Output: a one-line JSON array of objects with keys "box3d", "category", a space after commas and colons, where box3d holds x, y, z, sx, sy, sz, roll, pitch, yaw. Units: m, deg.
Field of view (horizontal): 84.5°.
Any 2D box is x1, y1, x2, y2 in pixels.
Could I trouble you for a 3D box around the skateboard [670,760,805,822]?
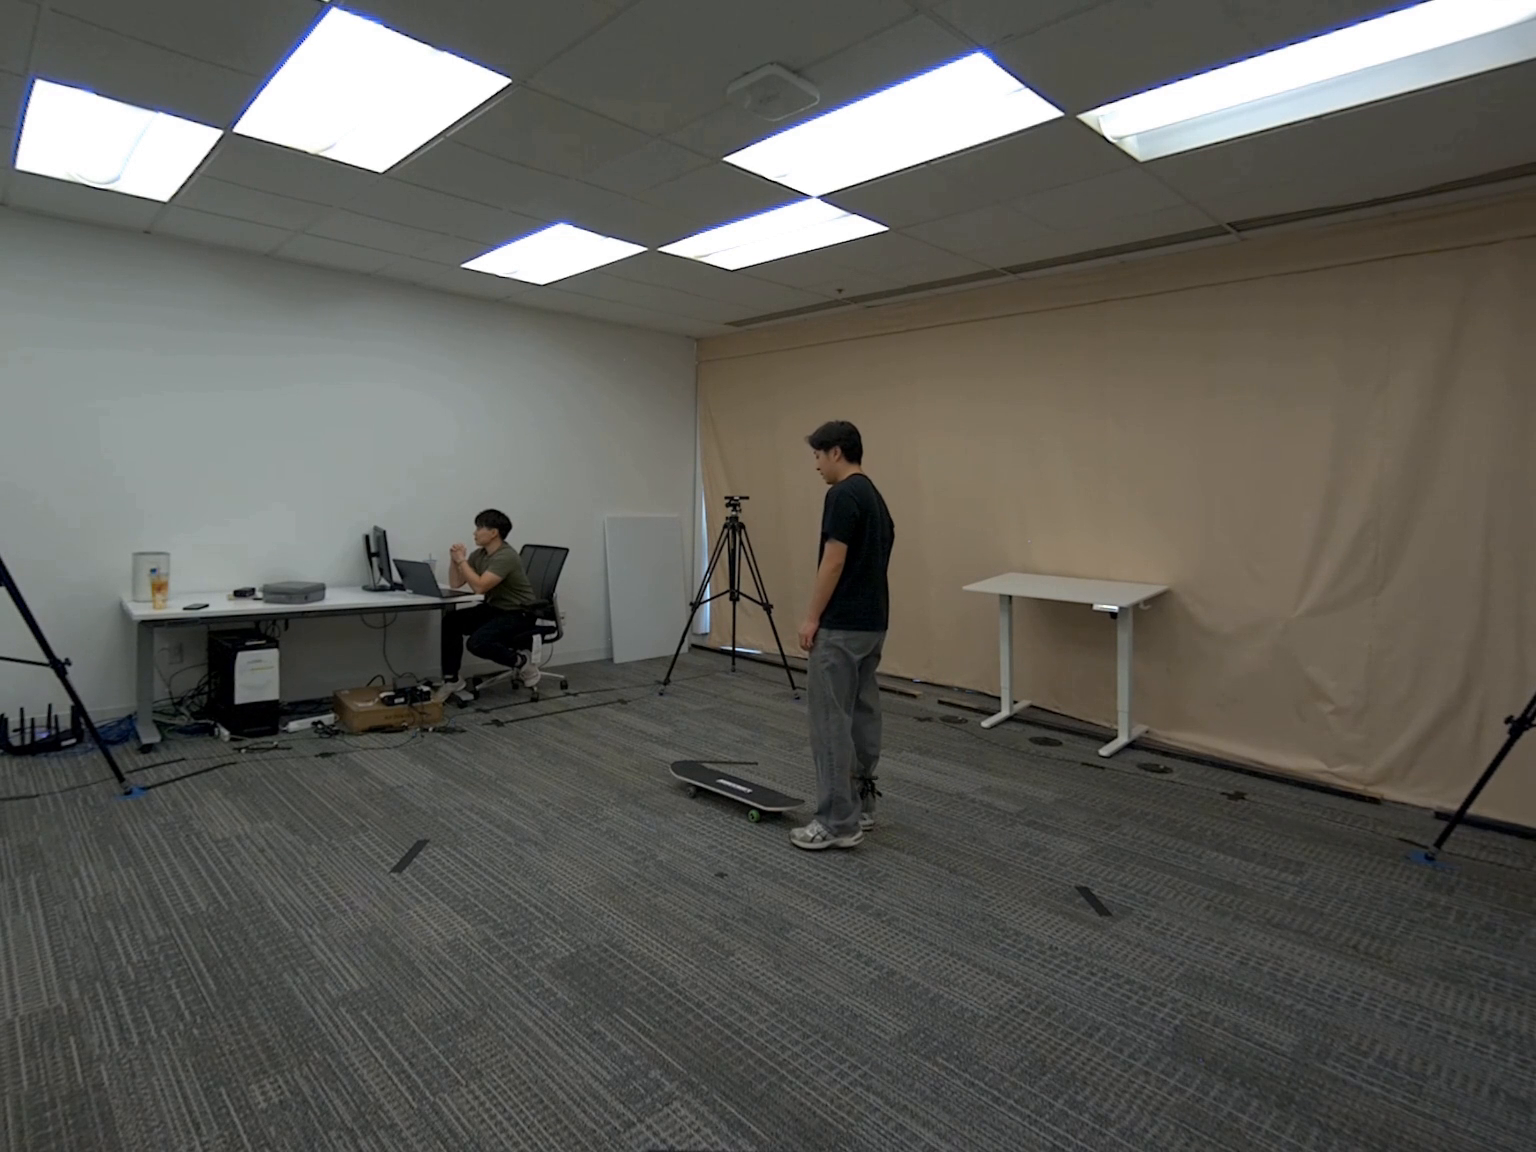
[{"box3d": [-0.167, 0.987, 3.824, 0.806, 0.110, 0.189, 6, 6, 44], "category": "skateboard"}]
